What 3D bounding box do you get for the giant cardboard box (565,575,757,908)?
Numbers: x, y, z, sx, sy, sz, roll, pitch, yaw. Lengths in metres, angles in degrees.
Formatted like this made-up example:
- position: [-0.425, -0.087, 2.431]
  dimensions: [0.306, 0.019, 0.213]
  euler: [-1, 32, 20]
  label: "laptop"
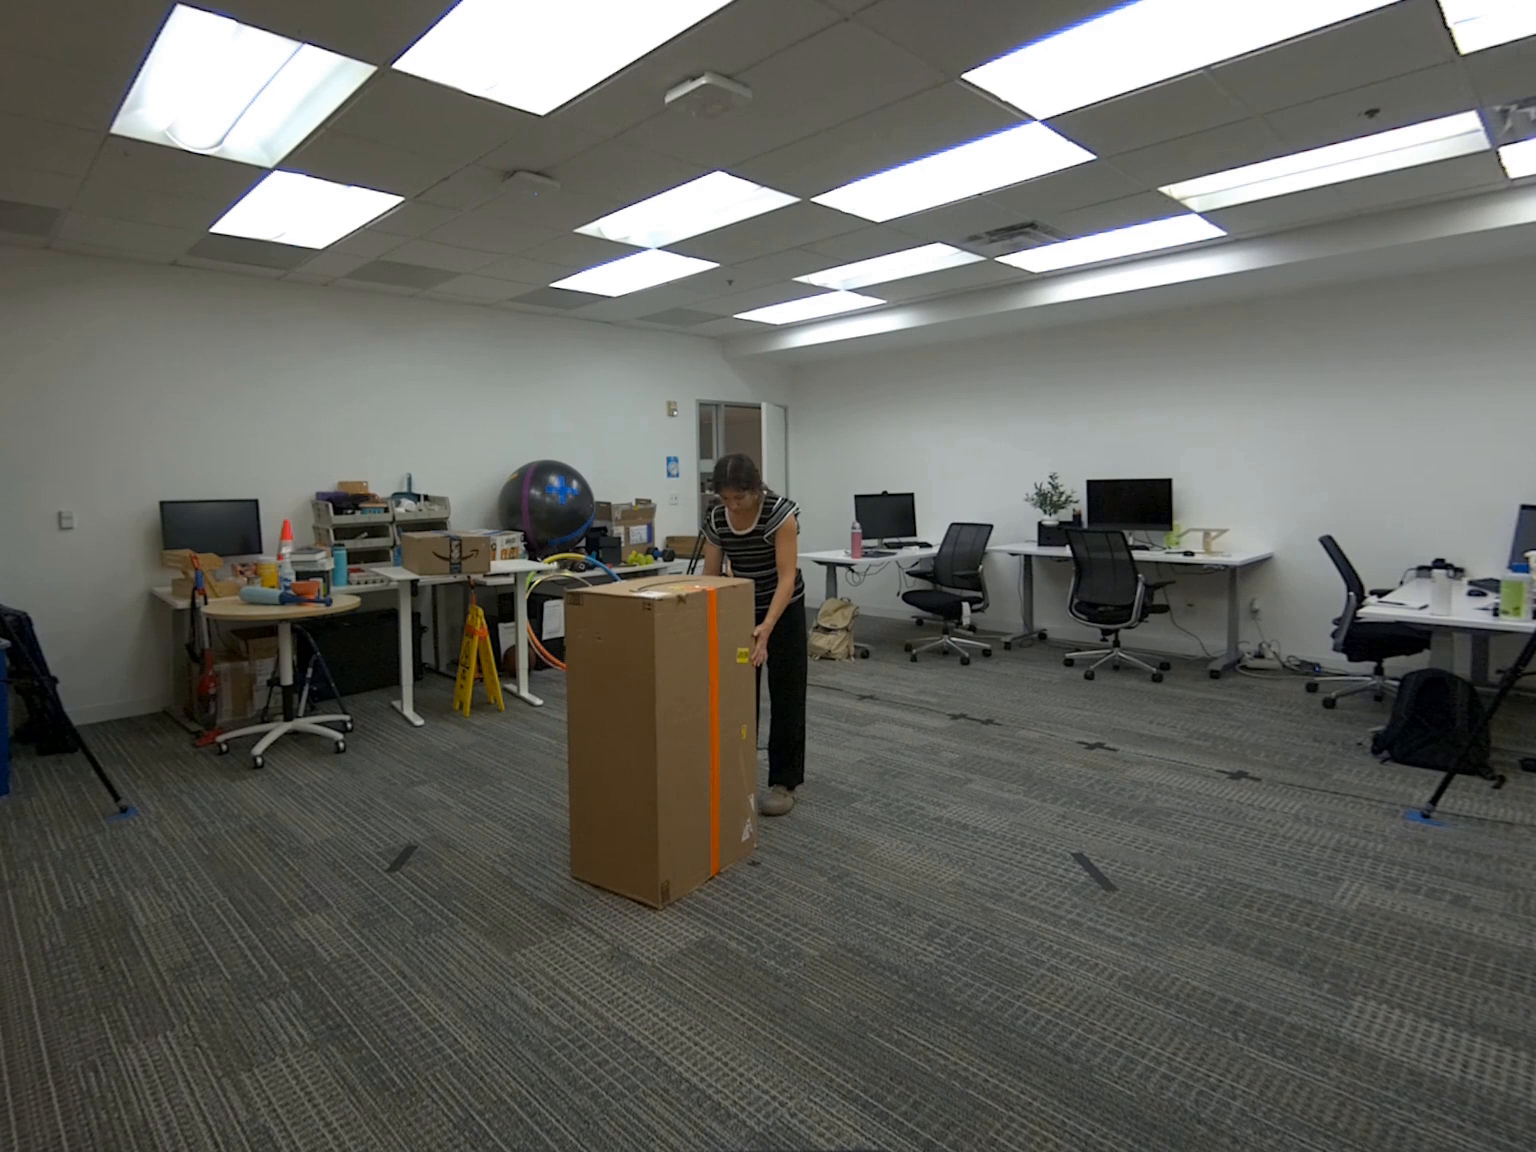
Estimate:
- position: [-0.377, 0.544, 3.093]
  dimensions: [0.438, 1.022, 0.563]
  euler: [2, 5, 34]
  label: "giant cardboard box"
